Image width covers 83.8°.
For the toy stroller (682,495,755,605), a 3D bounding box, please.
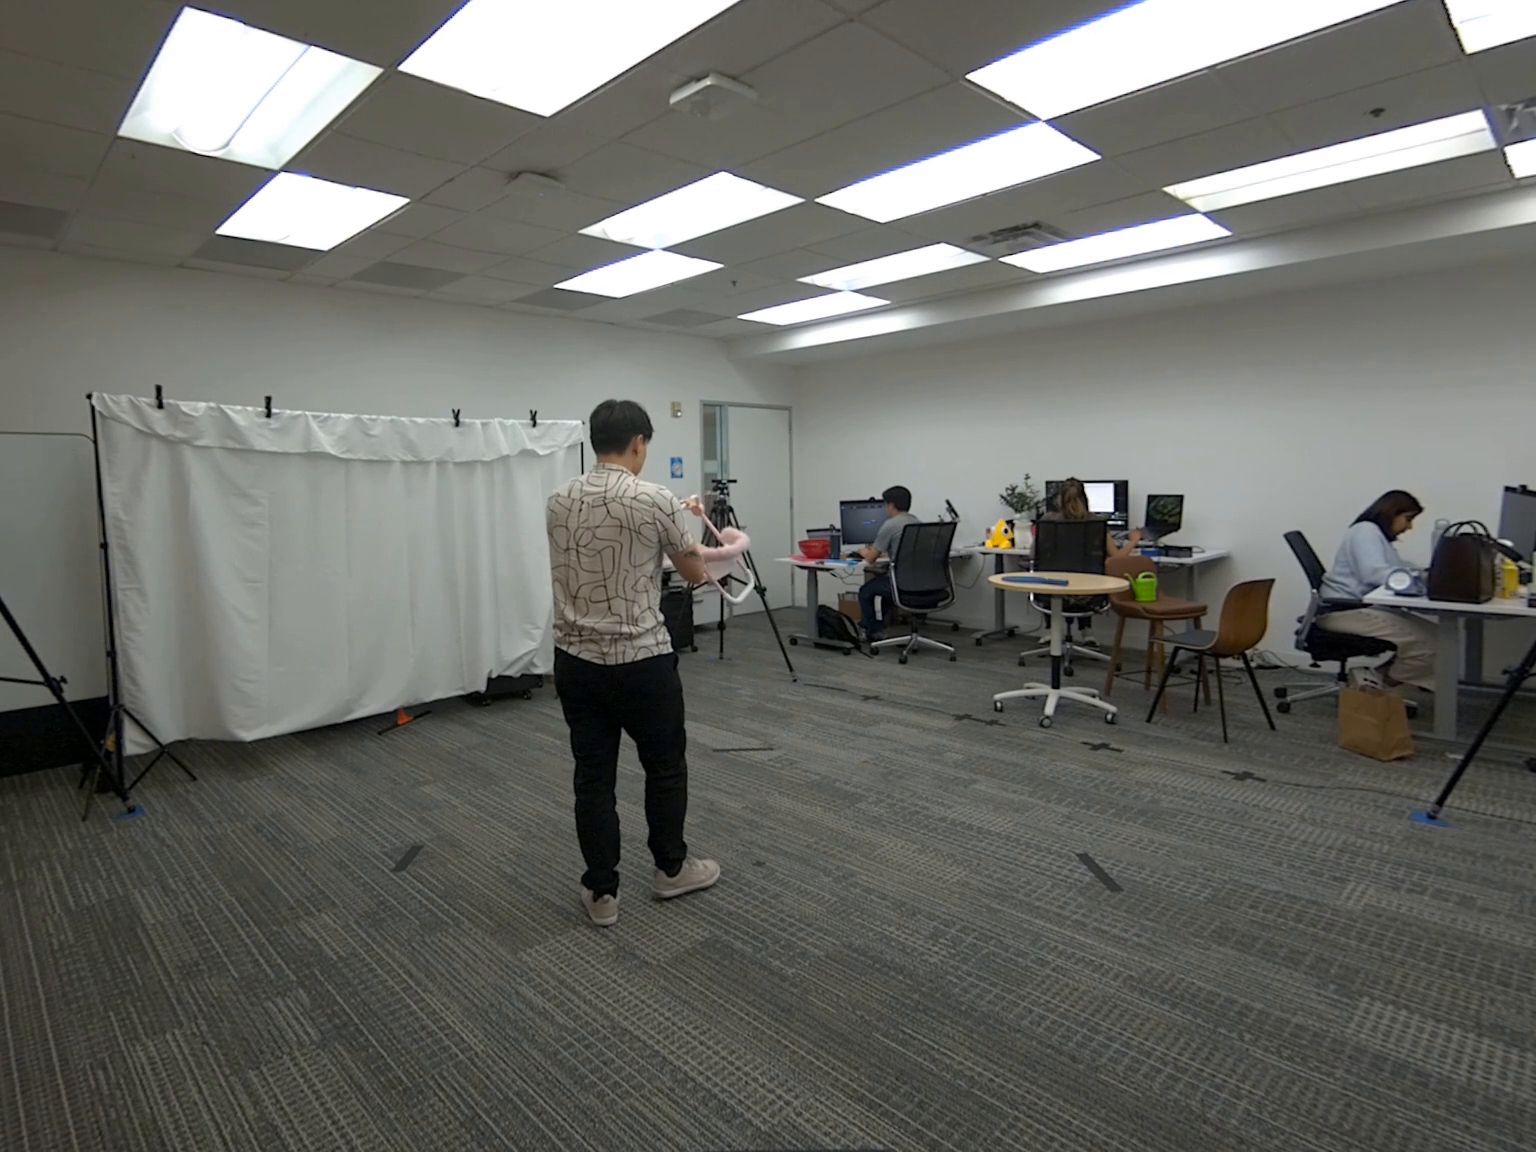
[{"bbox_3d":[-0.290,-0.137,3.185,0.547,0.335,0.280,17,29,19],"label":"toy stroller"}]
